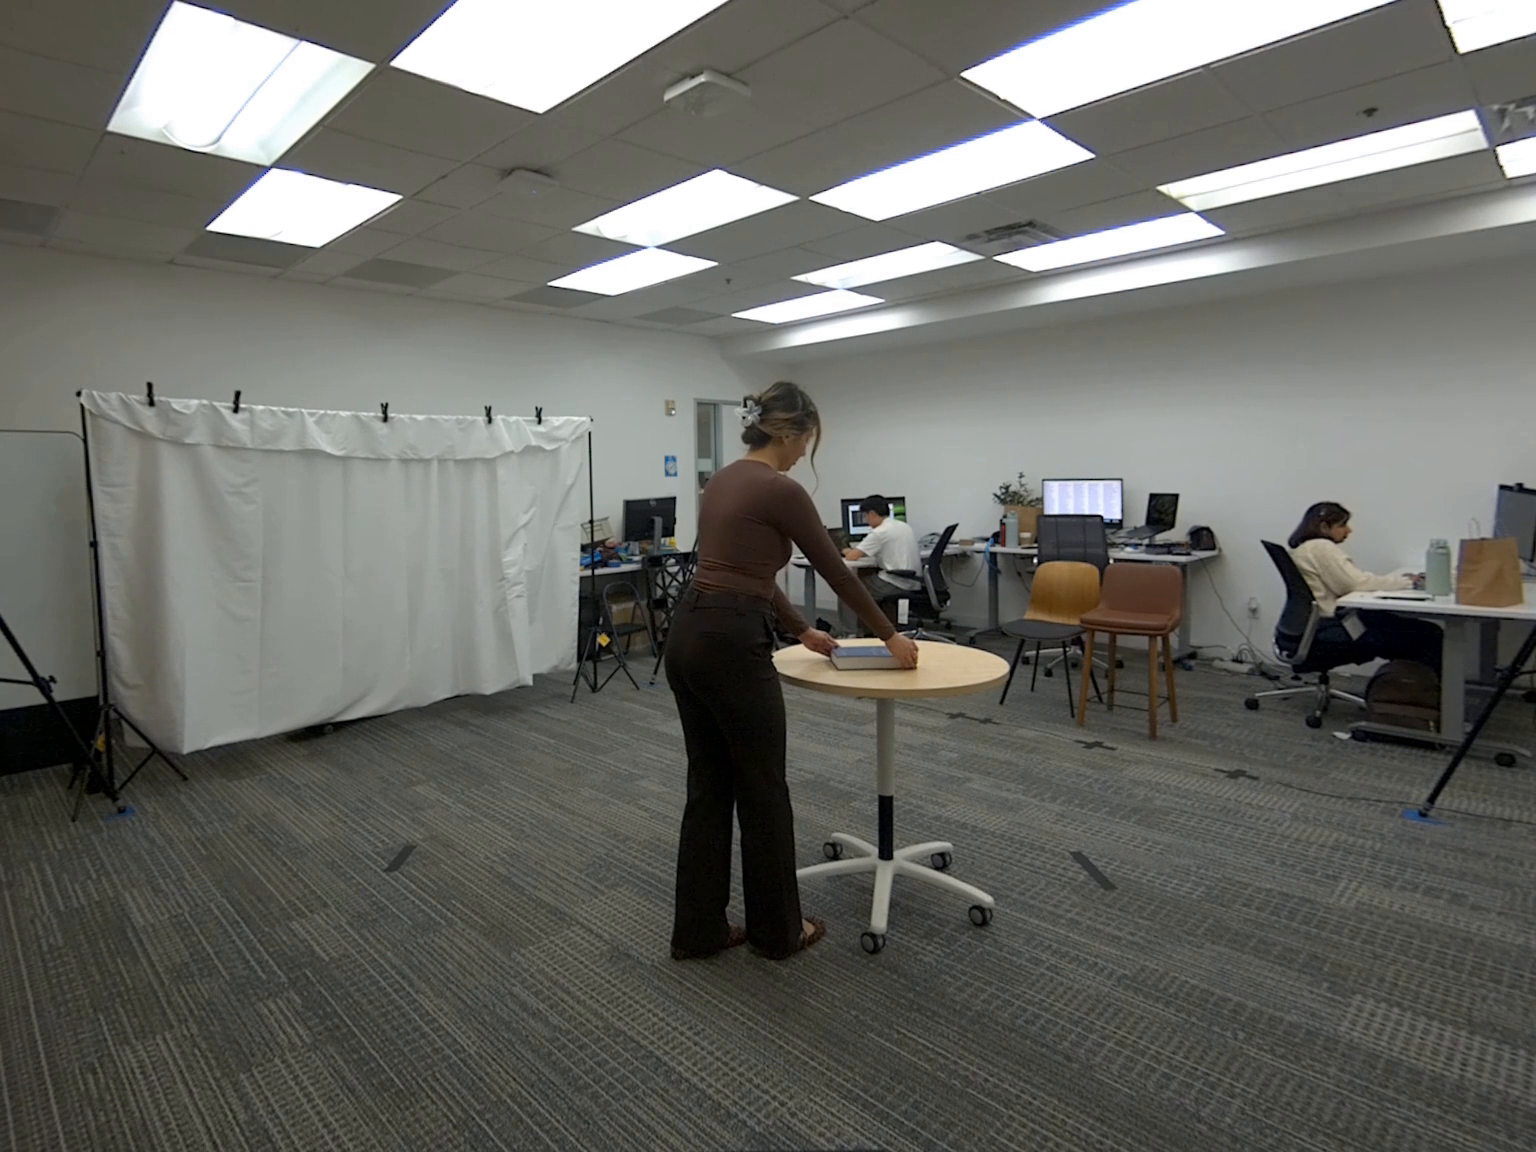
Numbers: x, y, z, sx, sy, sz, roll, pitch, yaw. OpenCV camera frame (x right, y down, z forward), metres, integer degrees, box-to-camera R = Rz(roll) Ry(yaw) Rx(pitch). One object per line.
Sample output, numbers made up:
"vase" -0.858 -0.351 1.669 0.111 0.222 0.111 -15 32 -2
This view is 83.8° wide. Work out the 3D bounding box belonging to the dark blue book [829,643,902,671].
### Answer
"dark blue book" 0.331 0.265 2.723 0.245 0.045 0.164 -2 7 1
